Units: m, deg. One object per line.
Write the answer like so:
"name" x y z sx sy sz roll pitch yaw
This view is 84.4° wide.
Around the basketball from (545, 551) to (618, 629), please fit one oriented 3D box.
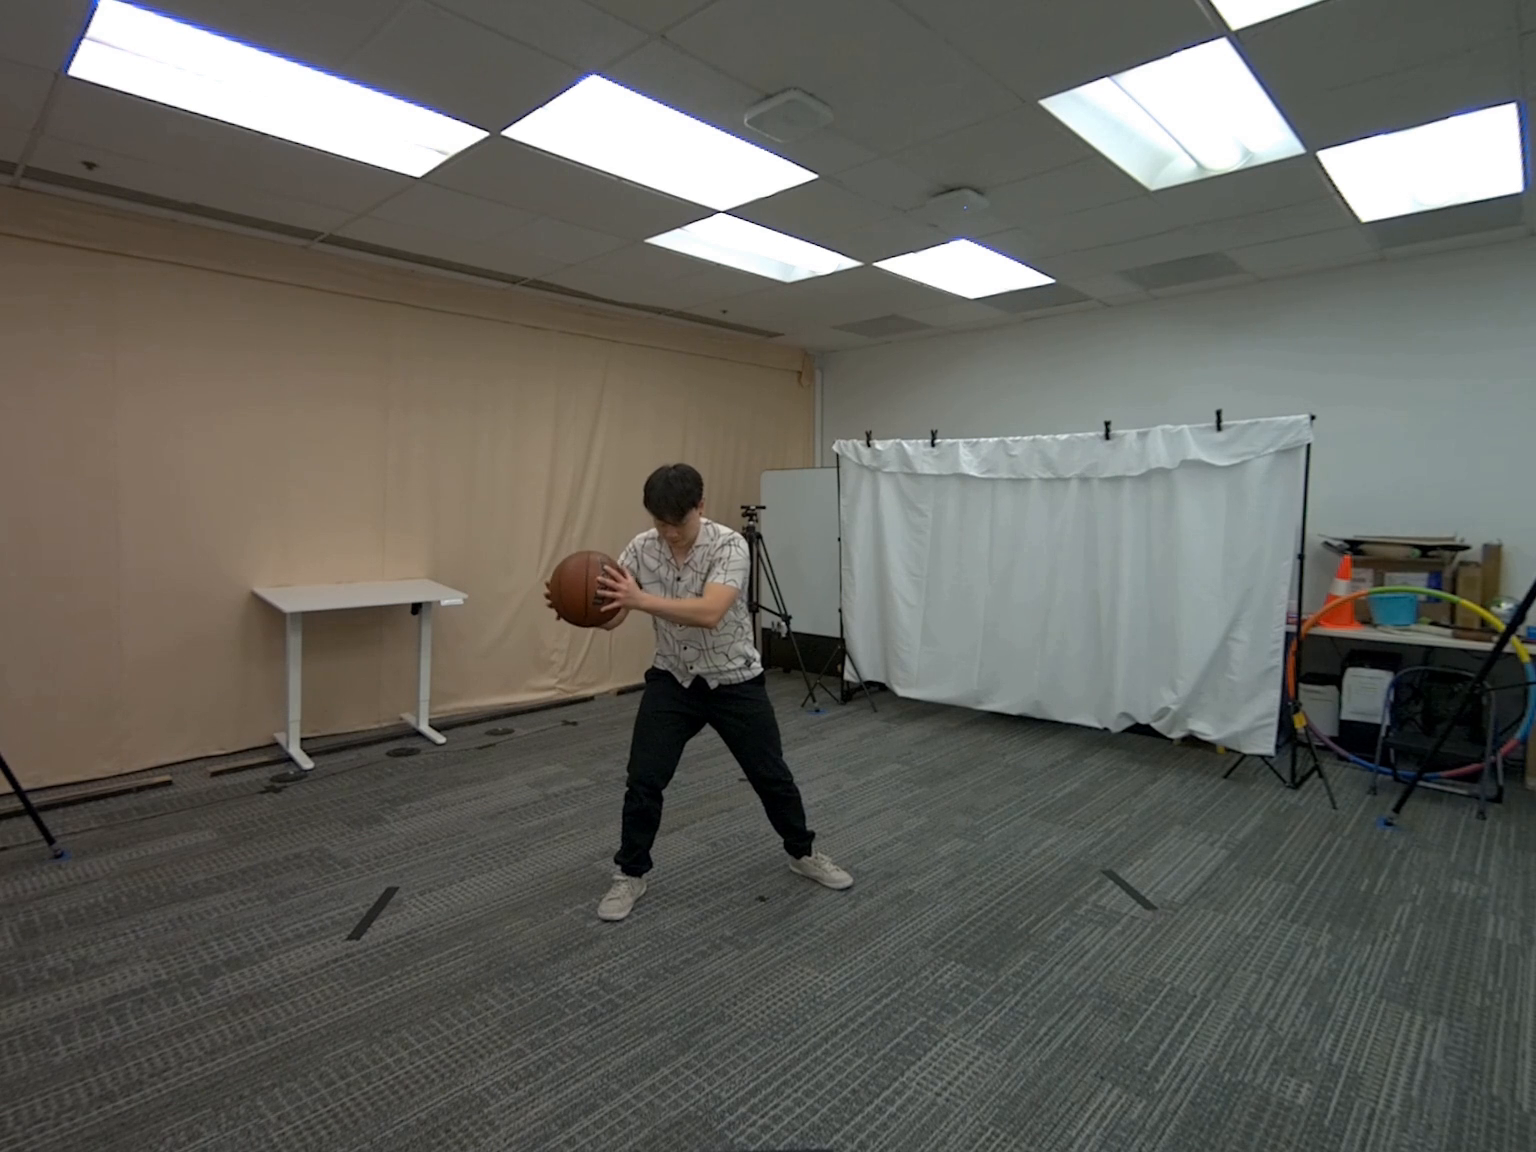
"basketball" -0.551 0.052 2.605 0.236 0.235 0.237 0 4 -2
